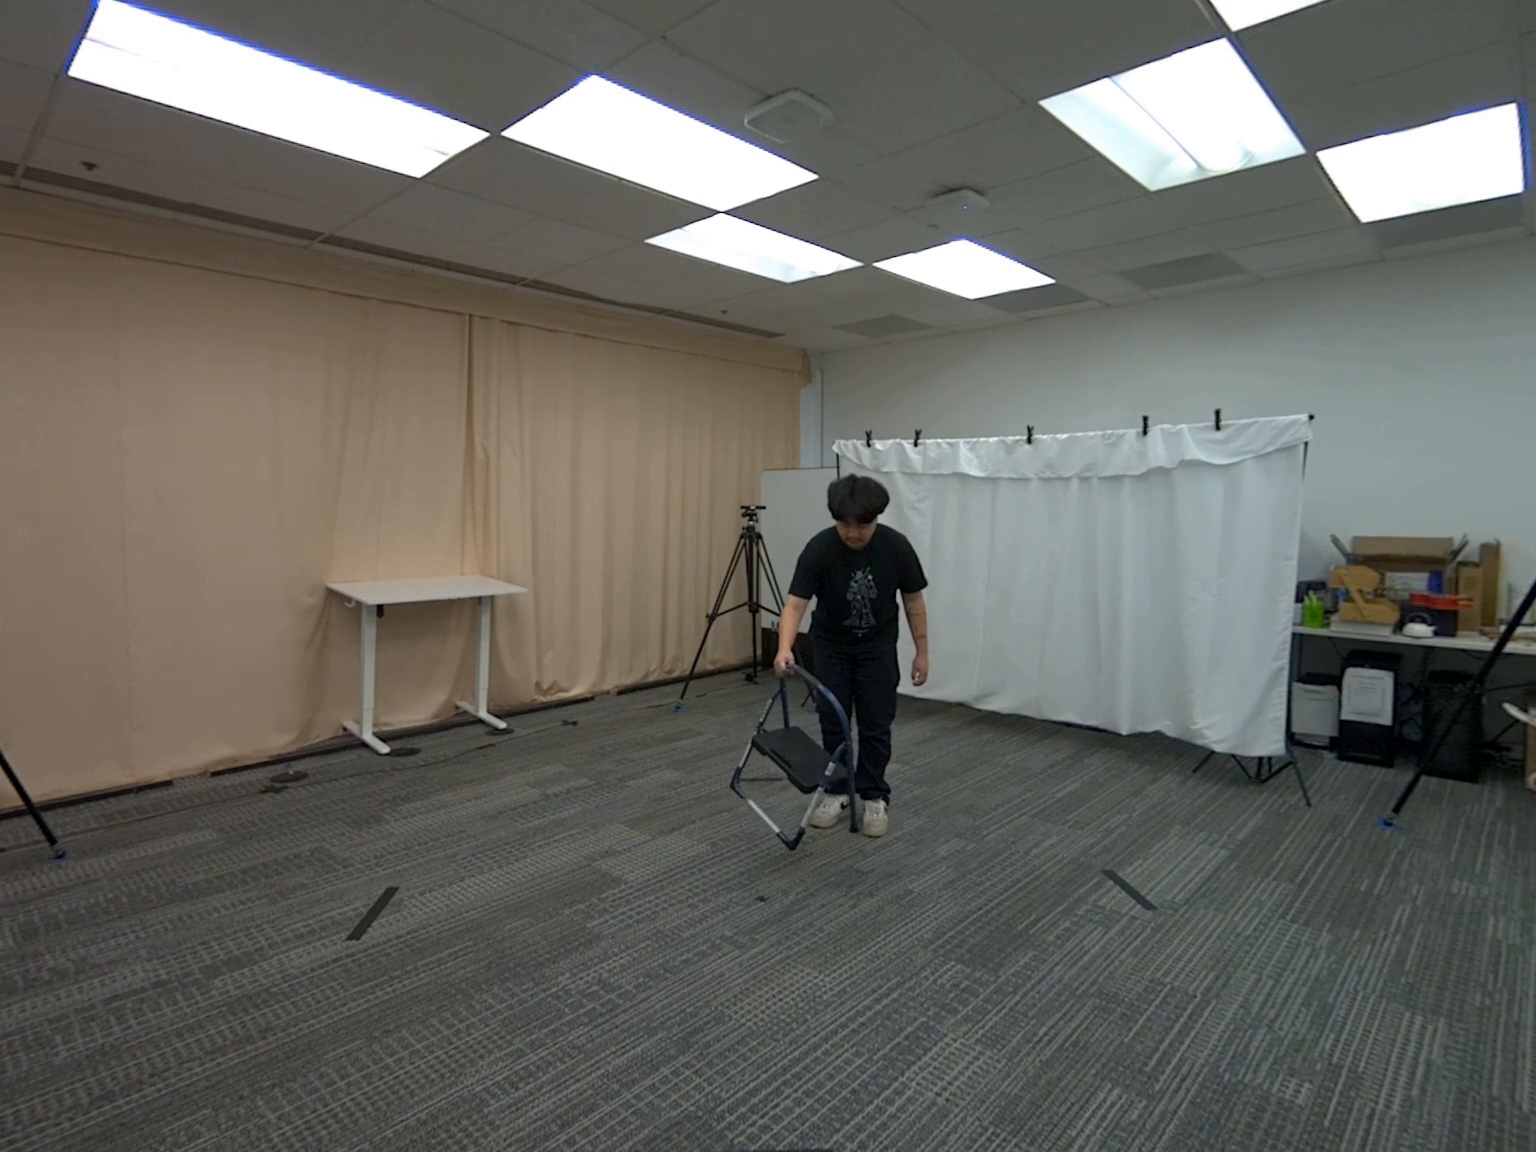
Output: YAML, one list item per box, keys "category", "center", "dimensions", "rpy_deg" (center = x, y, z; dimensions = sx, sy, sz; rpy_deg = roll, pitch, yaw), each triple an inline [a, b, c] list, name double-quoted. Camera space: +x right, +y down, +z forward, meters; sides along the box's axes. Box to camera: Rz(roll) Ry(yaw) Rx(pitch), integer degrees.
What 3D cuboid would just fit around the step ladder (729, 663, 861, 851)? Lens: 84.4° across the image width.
- category: "step ladder"
  center: [0.152, 0.645, 3.238]
  dimensions: [0.339, 0.601, 0.447]
  rpy_deg: [-4, 25, -38]
